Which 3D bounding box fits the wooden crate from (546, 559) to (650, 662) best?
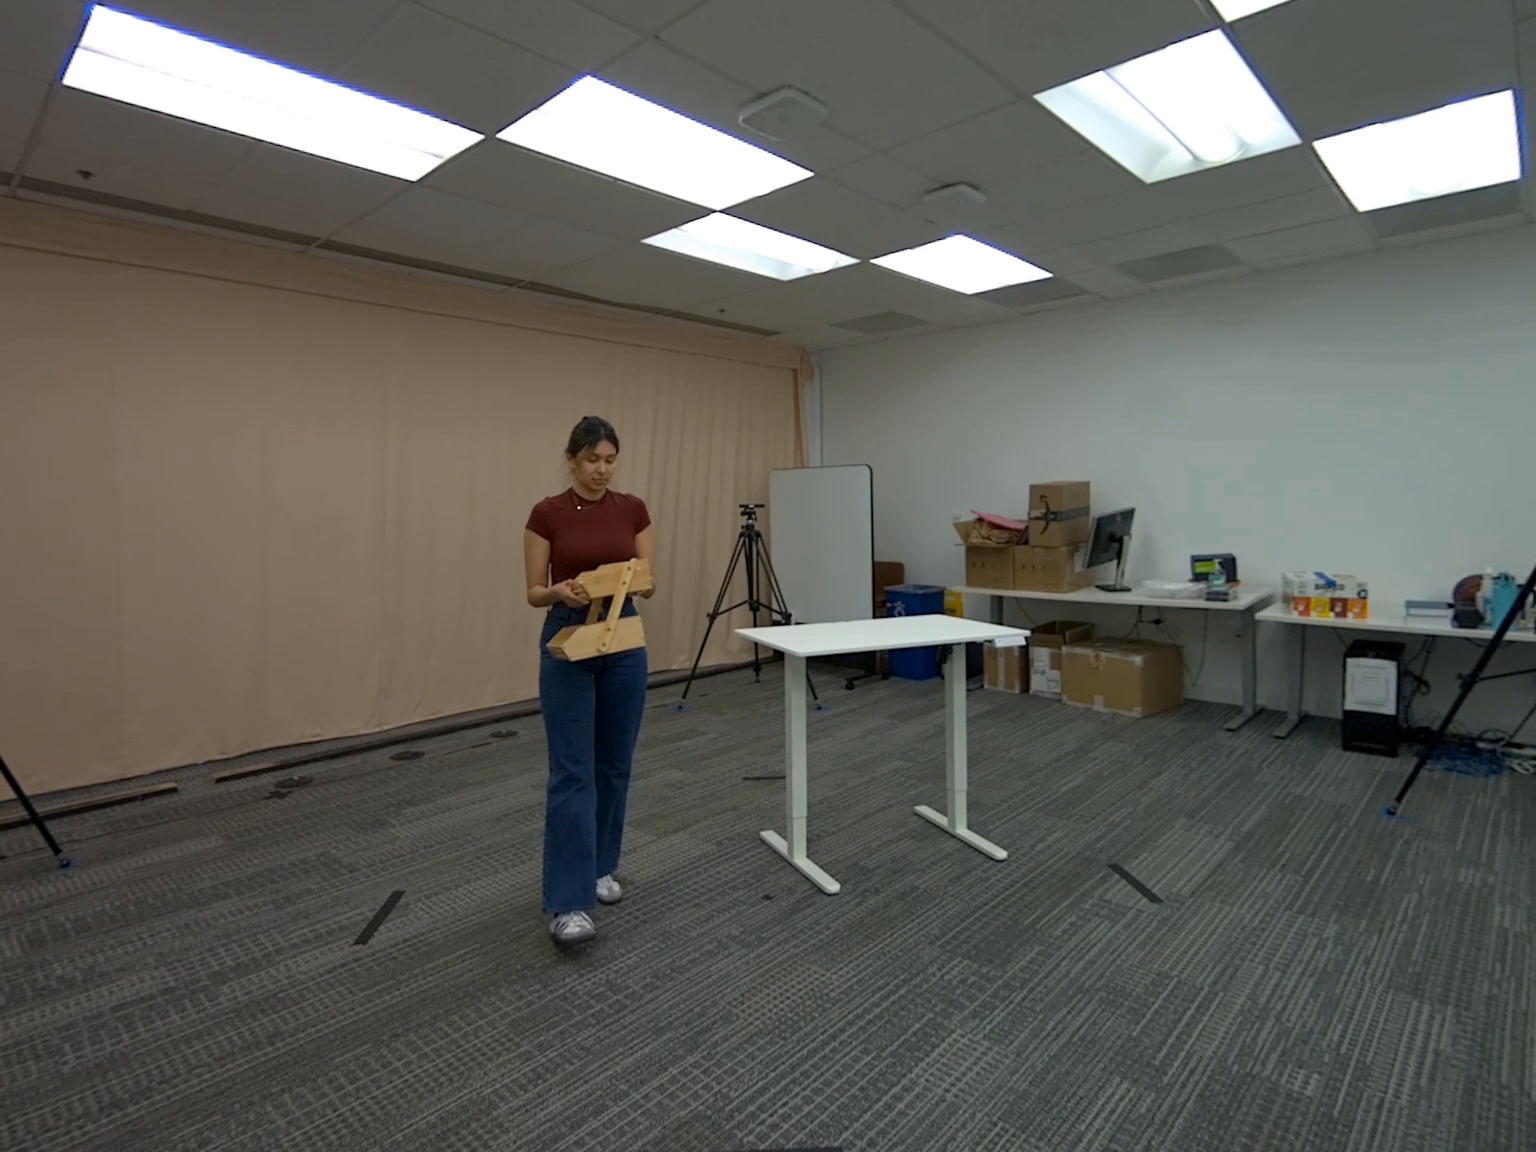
[{"bbox_3d":[-0.550,0.103,2.645,0.296,0.274,0.330,-6,-2,-21],"label":"wooden crate"}]
